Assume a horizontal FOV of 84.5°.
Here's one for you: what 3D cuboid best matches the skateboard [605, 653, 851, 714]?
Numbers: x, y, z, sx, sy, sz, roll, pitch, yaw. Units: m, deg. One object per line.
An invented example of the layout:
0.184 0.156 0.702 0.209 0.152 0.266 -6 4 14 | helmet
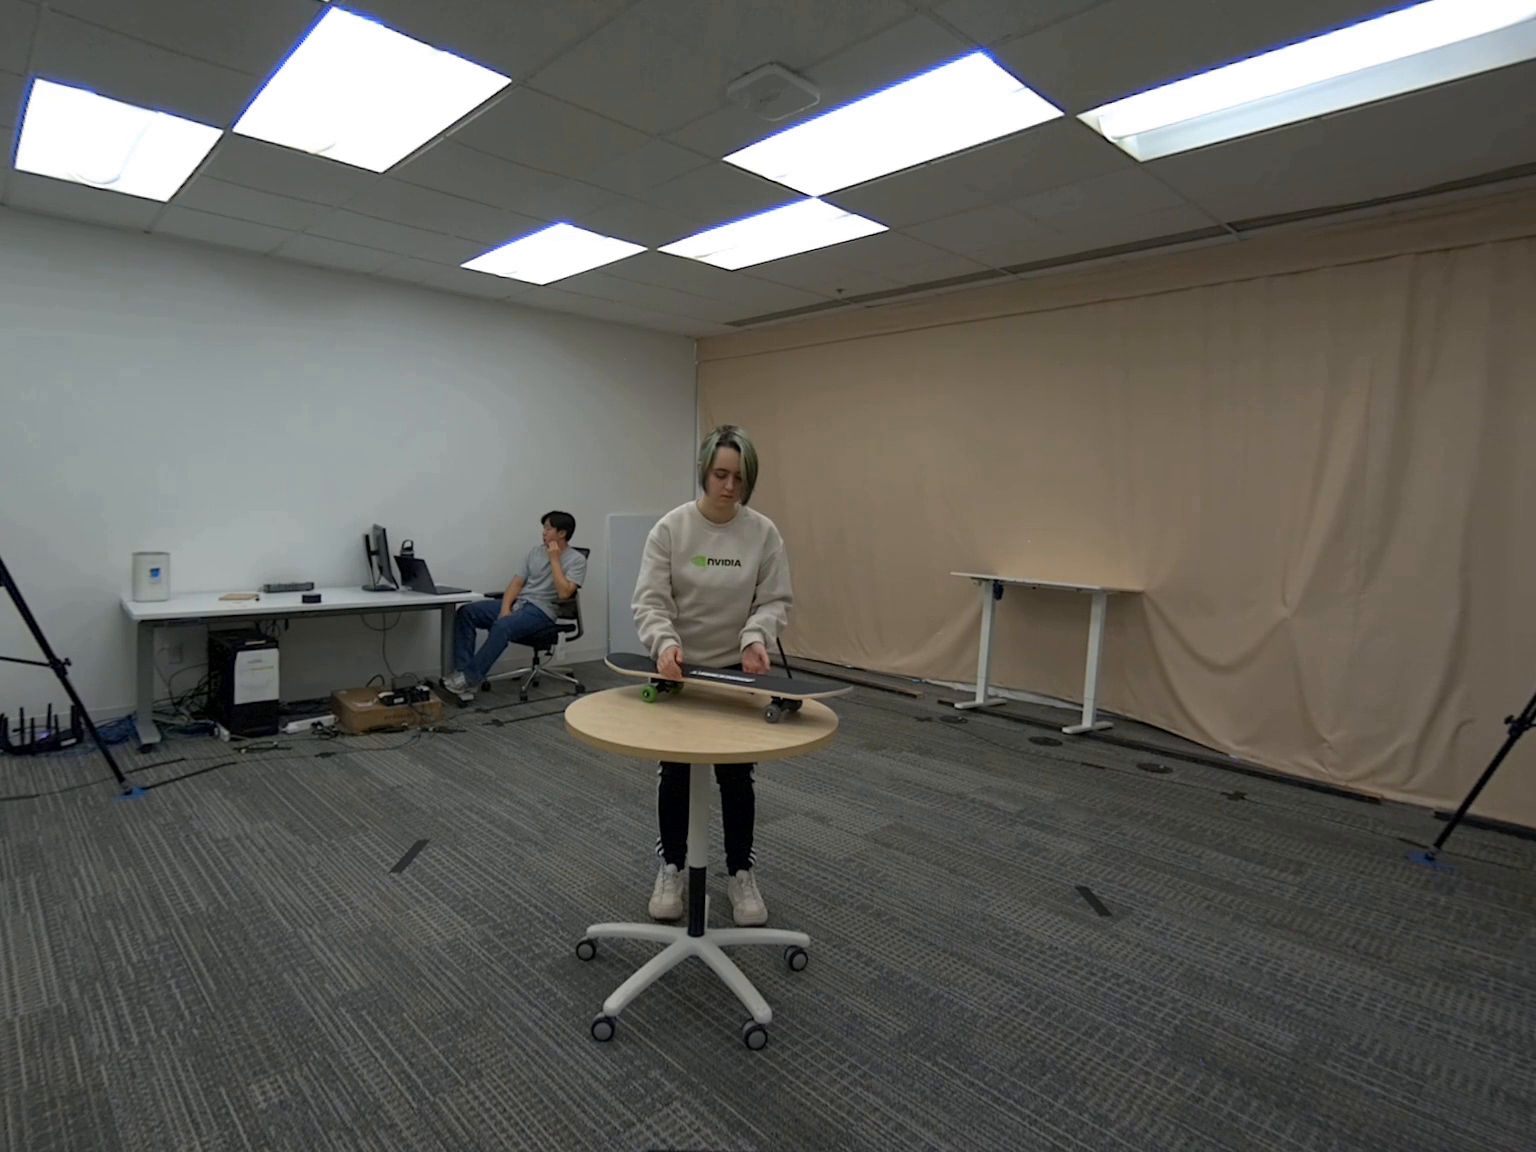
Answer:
-0.152 0.331 2.447 0.802 0.110 0.190 4 5 27 | skateboard
